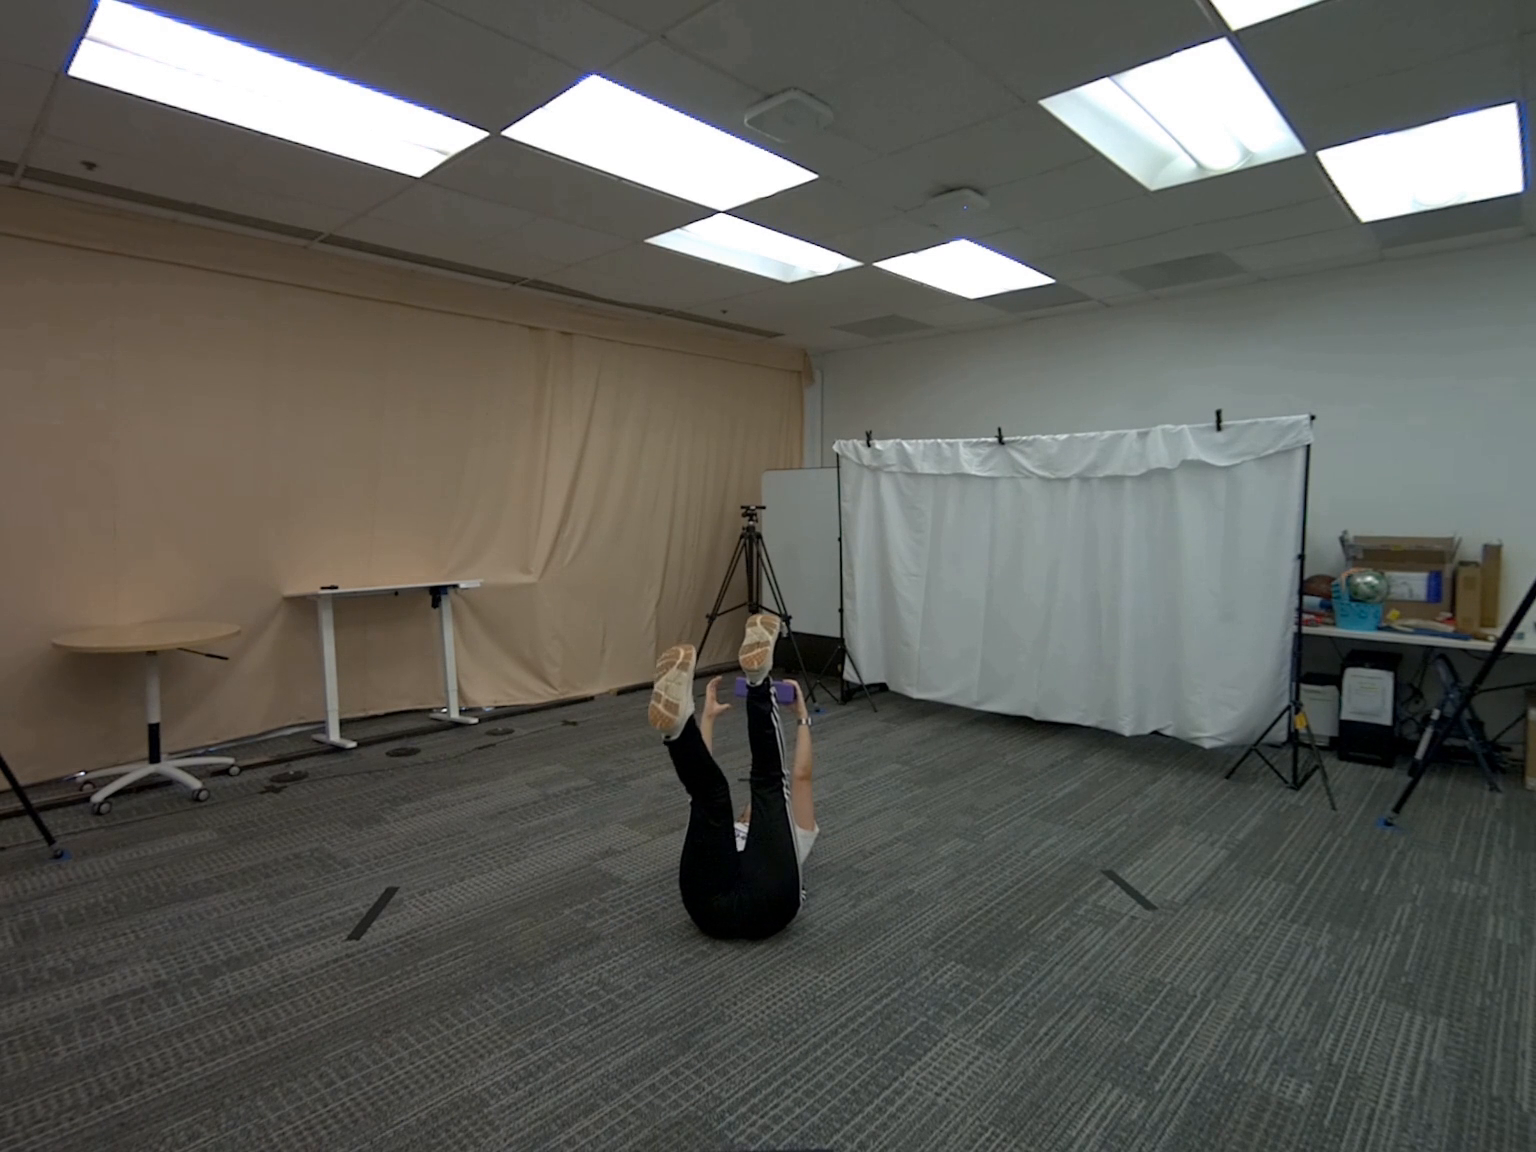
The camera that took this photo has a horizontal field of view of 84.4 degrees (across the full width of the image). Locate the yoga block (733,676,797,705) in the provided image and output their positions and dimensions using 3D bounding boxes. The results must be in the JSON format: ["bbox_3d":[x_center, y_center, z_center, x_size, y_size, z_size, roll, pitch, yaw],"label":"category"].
[{"bbox_3d":[-0.017,0.454,3.334,0.231,0.077,0.148,5,-5,4],"label":"yoga block"}]
